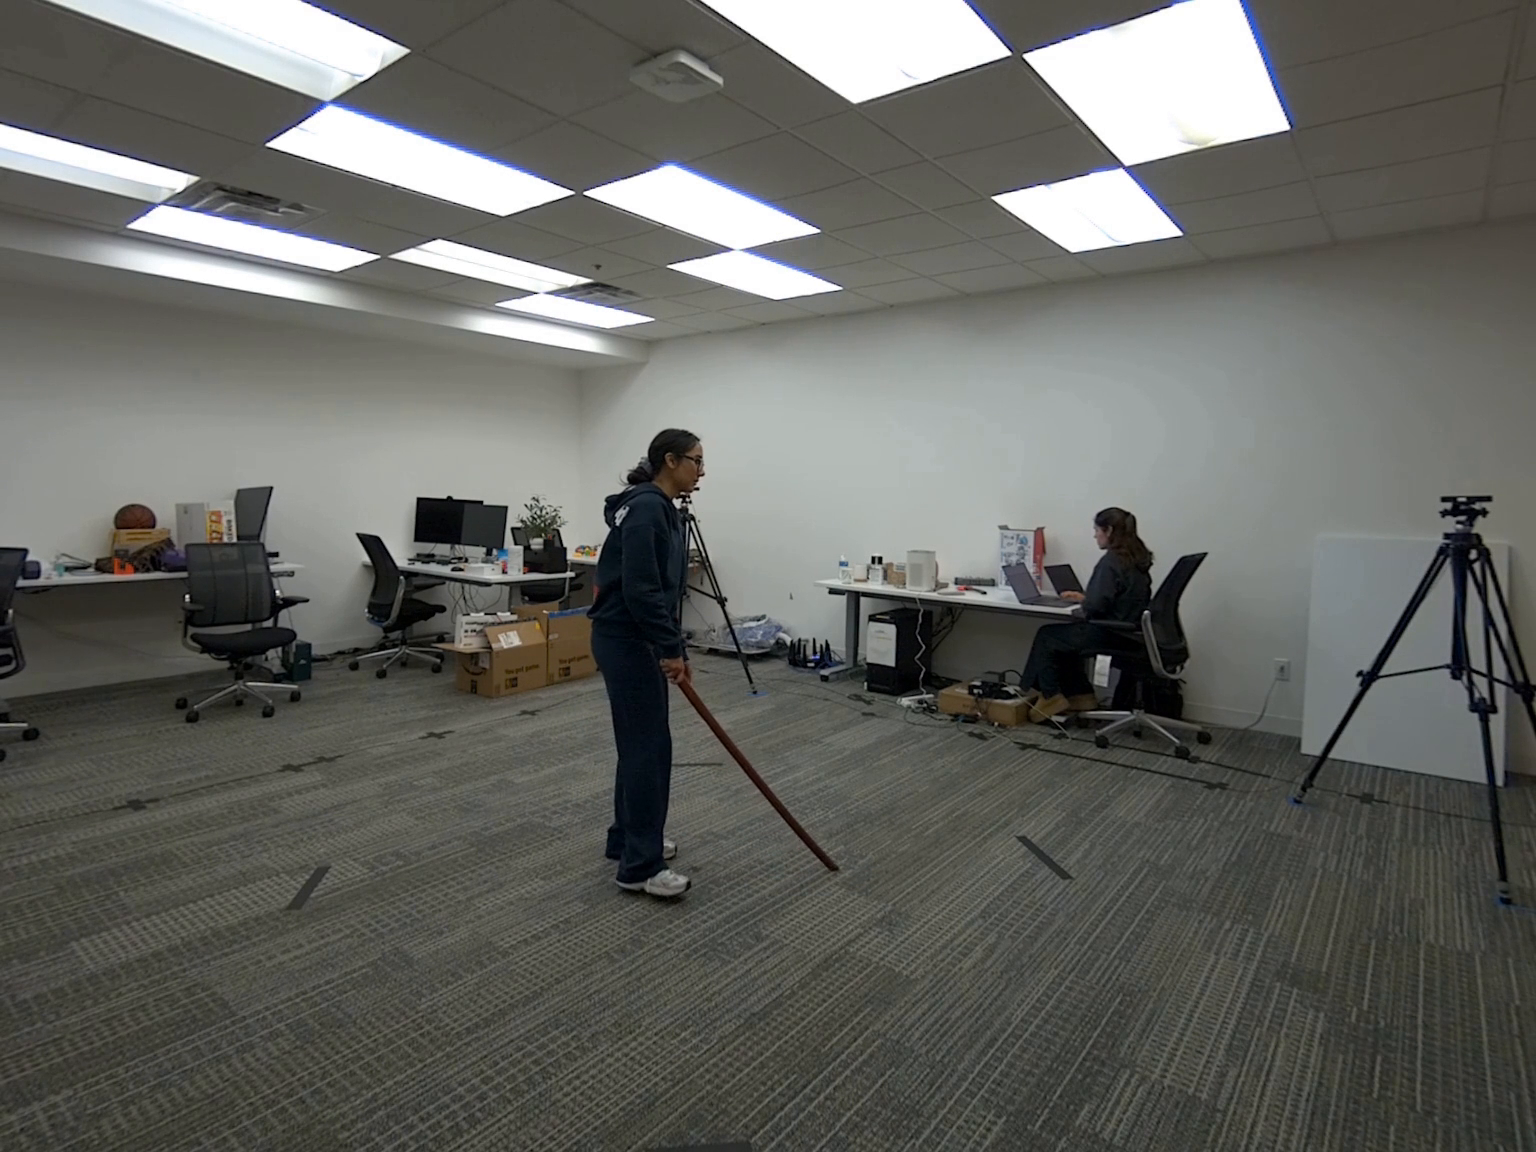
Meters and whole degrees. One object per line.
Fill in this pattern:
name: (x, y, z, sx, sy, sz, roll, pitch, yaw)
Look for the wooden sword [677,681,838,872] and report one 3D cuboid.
wooden sword: (-0.062, 0.691, 3.031, 0.052, 1.009, 0.024, -33, 12, 21)
